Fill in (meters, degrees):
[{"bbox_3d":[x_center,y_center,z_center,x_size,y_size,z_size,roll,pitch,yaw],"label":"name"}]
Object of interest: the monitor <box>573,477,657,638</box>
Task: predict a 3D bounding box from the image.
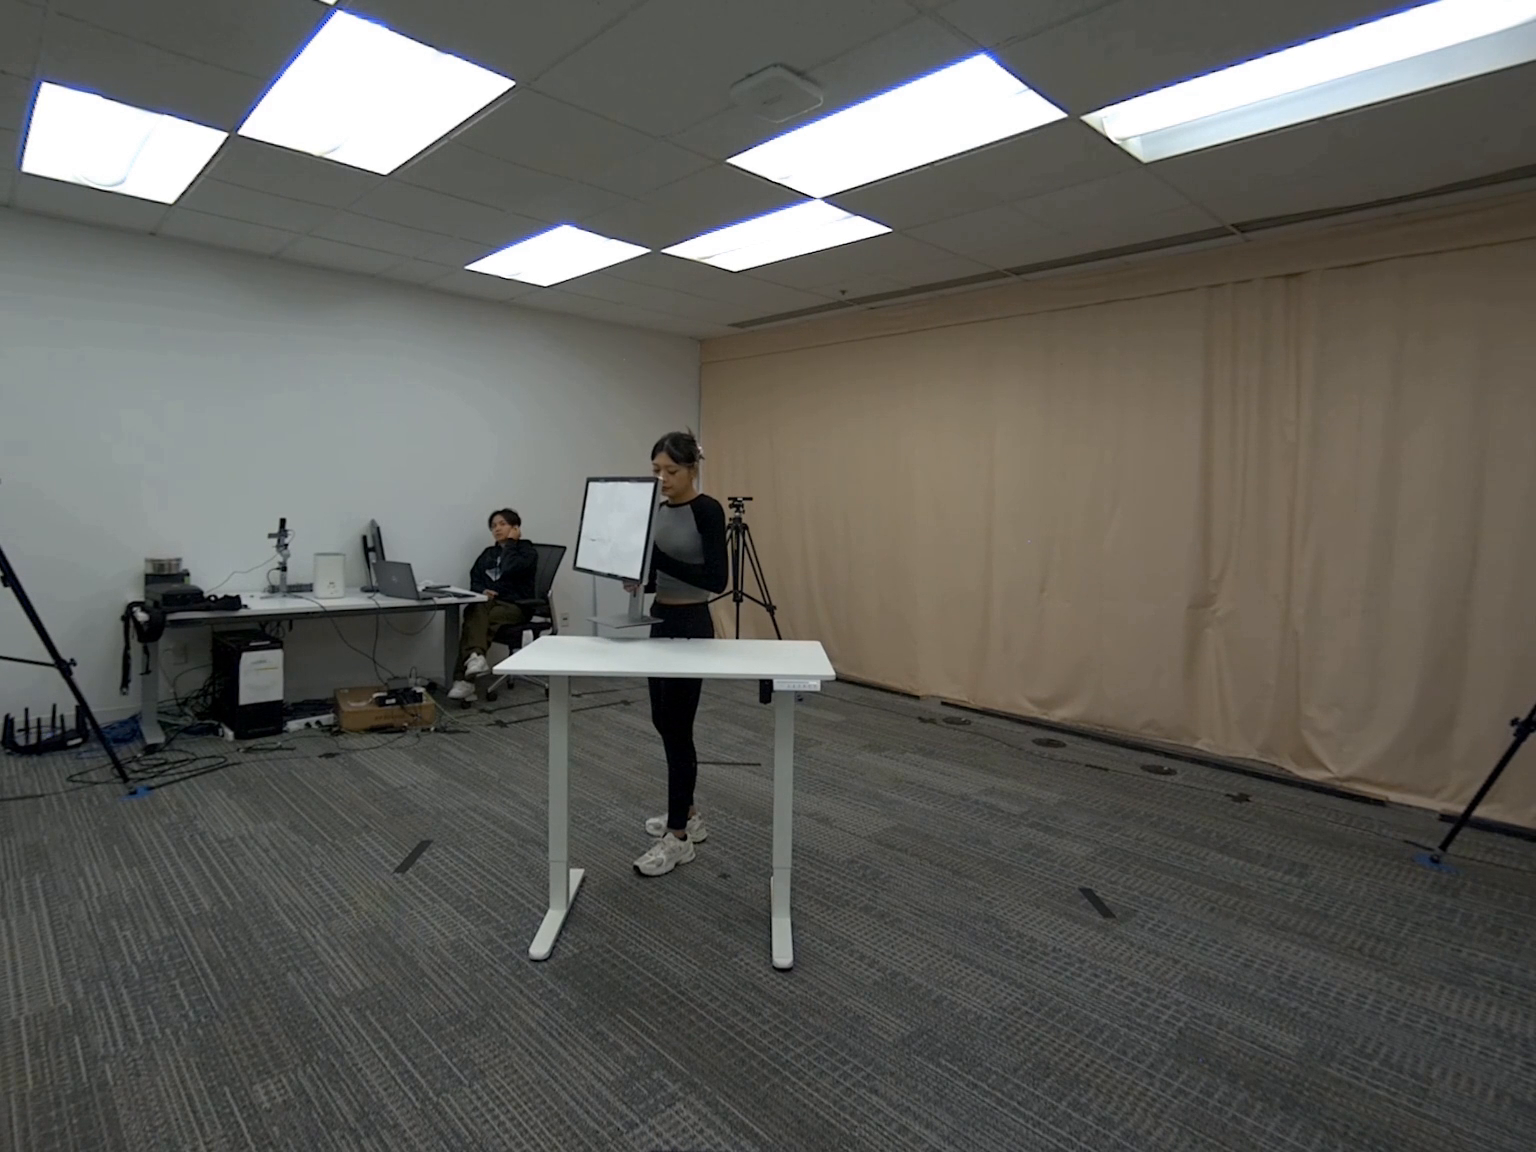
[{"bbox_3d":[-0.531,-0.087,3.047,0.183,0.520,0.552,-5,7,-35],"label":"monitor"}]
